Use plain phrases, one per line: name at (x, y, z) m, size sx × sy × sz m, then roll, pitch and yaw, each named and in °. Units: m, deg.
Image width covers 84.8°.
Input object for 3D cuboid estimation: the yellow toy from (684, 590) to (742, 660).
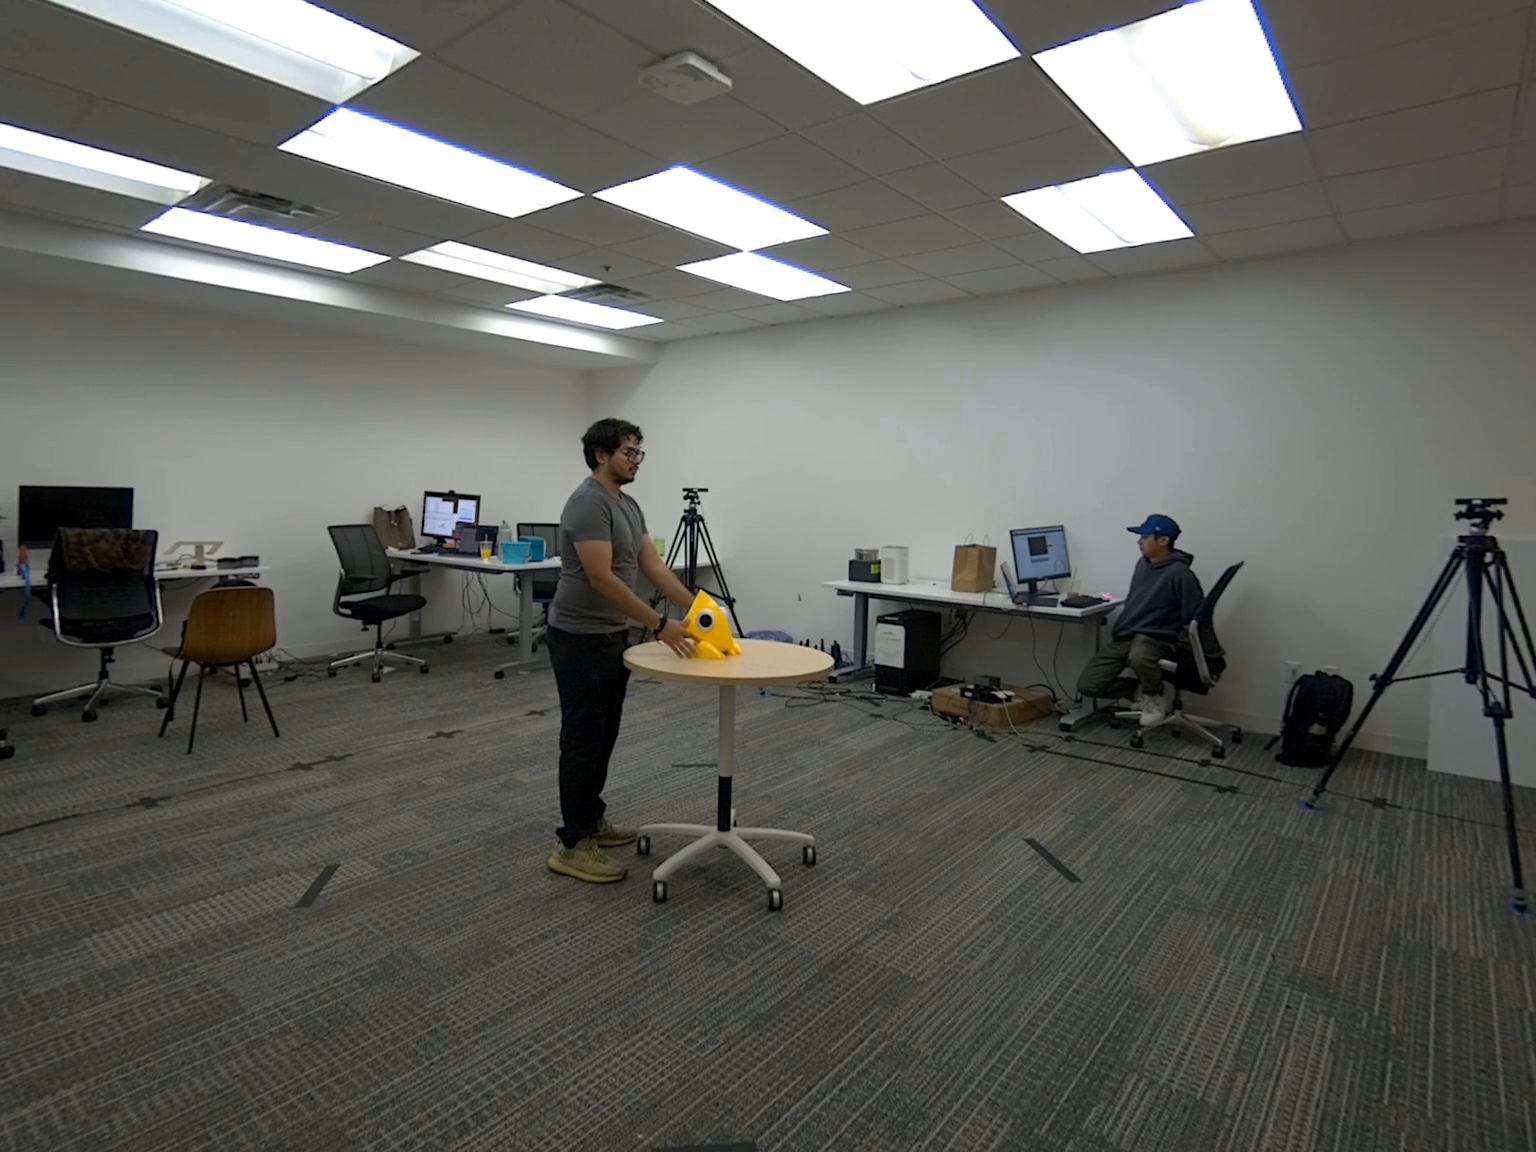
yellow toy at (-0.215, 0.170, 3.119) m, size 0.199 × 0.230 × 0.199 m, roll 6°, pitch 5°, yaw 36°
